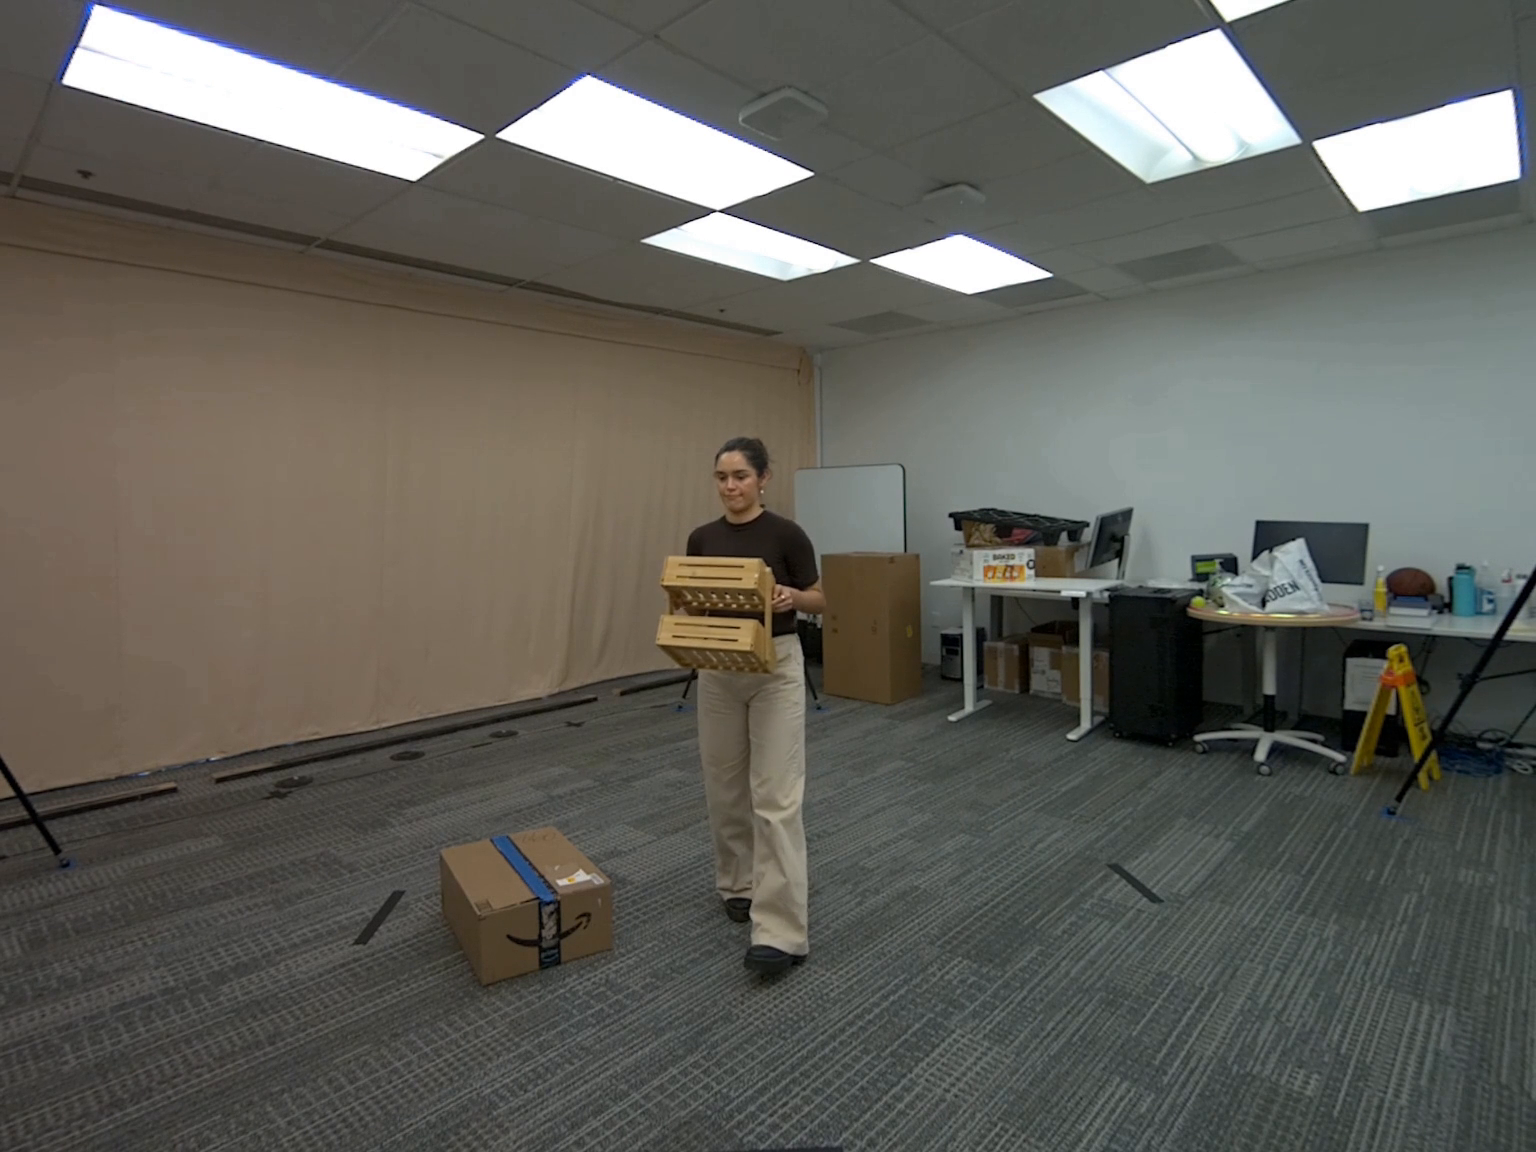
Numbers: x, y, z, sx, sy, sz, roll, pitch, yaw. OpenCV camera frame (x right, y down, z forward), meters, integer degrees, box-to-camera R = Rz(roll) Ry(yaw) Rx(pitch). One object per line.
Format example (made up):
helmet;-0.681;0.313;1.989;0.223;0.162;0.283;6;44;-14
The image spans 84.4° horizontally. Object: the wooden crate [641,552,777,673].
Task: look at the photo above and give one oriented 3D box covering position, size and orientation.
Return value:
wooden crate;-0.146;0.118;2.531;0.331;0.276;0.293;2;-22;20
